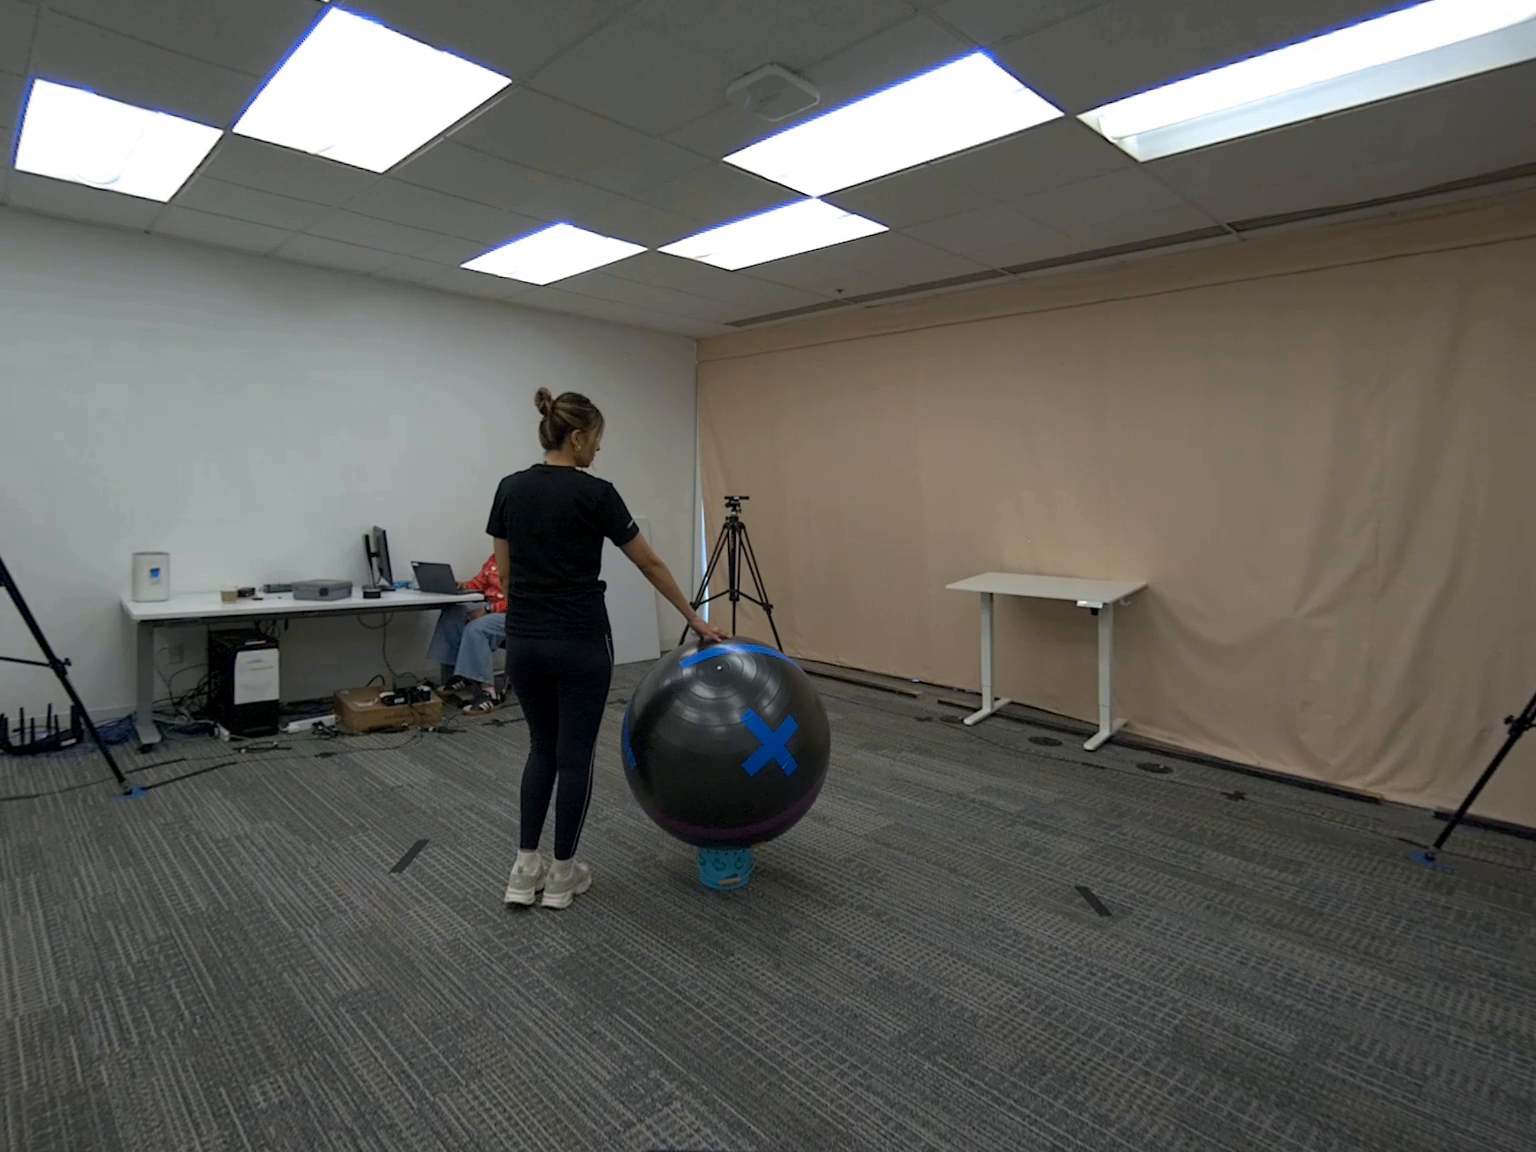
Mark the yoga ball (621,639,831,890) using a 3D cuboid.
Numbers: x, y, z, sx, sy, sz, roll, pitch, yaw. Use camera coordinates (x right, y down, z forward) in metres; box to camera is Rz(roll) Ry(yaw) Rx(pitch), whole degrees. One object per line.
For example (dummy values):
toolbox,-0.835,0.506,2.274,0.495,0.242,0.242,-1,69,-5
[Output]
yoga ball,-0.158,0.601,3.047,0.757,0.756,0.761,1,4,-1
